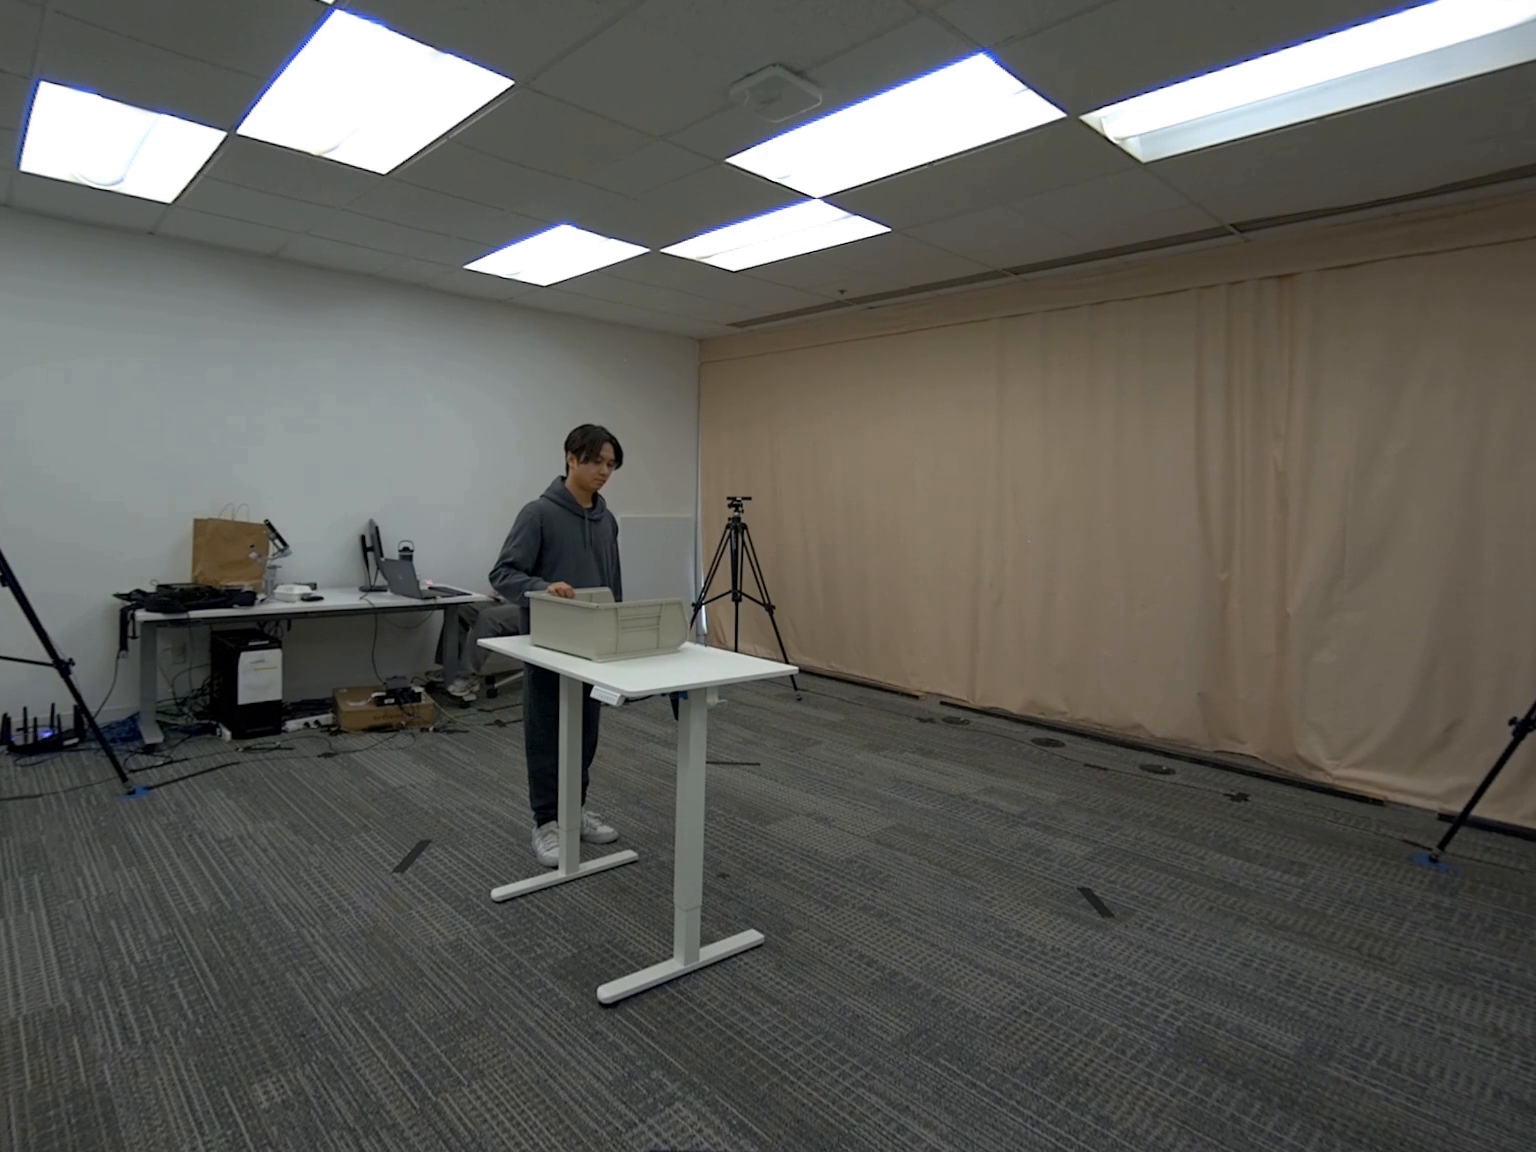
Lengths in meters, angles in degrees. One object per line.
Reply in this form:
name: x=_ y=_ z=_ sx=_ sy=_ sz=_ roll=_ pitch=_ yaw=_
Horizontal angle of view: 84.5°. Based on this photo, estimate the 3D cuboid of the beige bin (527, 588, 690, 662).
beige bin: x=-0.536 y=0.155 z=2.797 sx=0.369 sy=0.188 sz=0.433 roll=-4 pitch=7 yaw=-44
